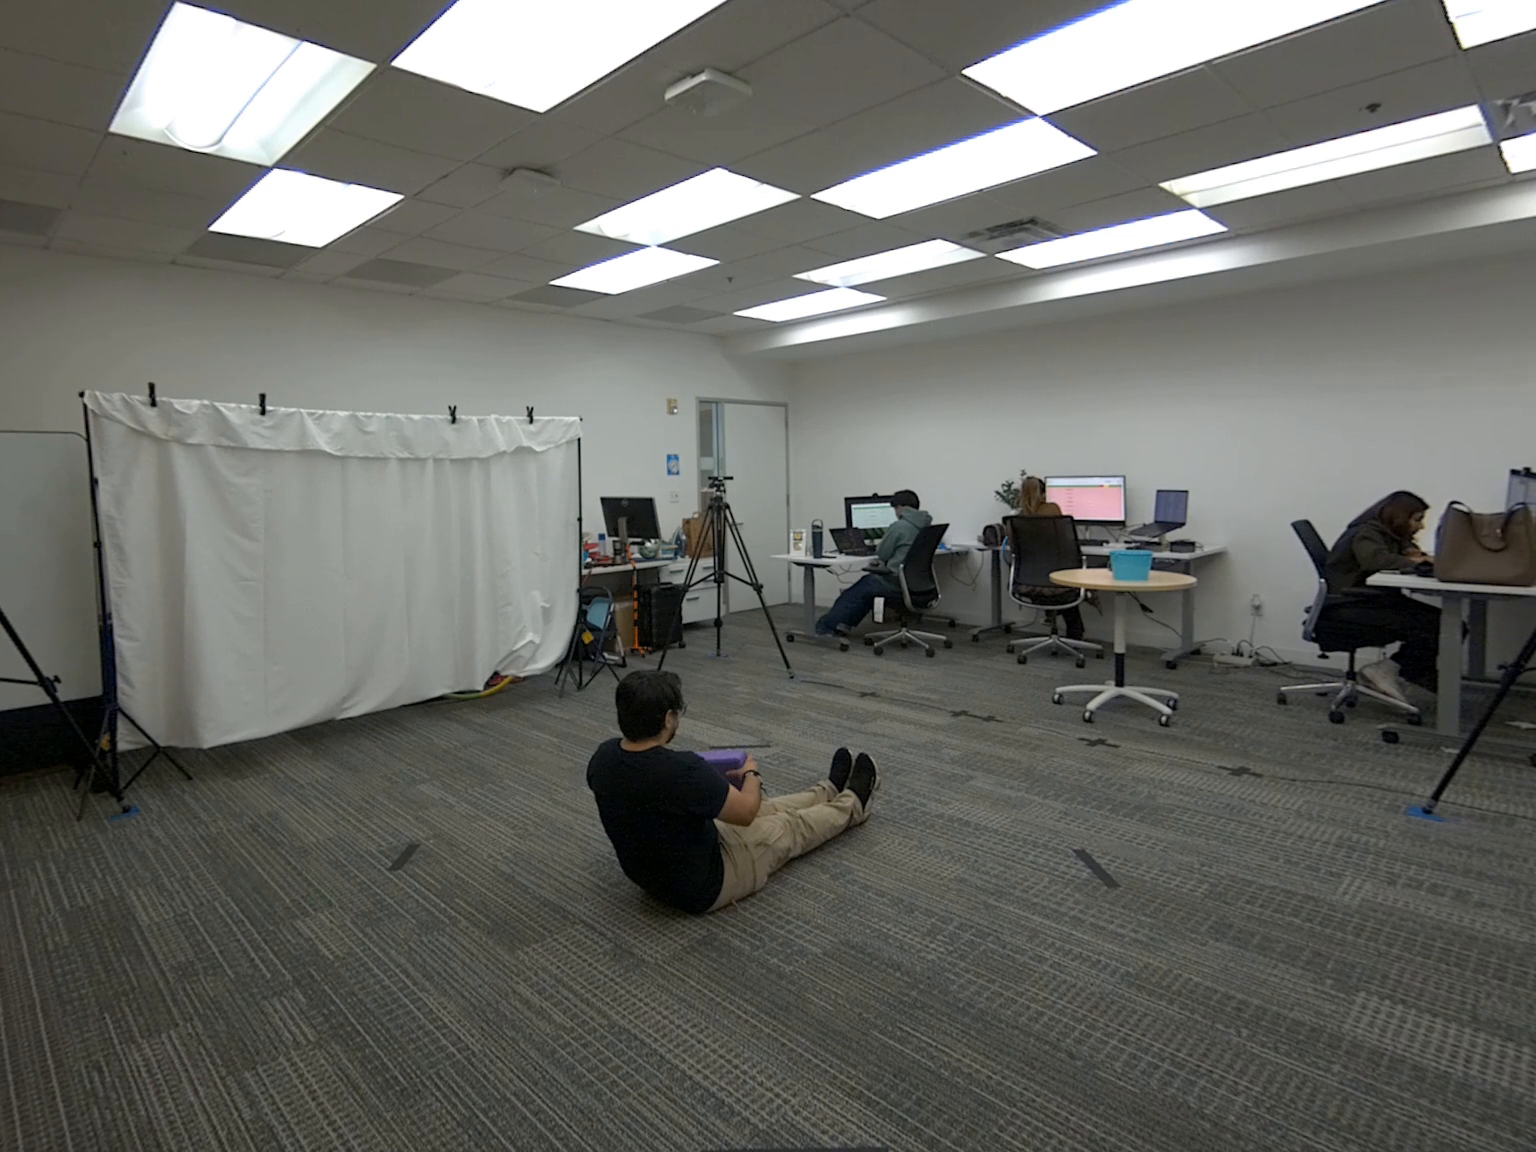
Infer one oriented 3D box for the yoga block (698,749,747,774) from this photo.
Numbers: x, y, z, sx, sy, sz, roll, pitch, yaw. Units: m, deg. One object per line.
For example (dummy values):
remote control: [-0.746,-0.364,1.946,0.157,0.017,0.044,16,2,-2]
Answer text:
yoga block: [-0.188,0.730,3.147,0.234,0.147,0.076,-9,13,25]
